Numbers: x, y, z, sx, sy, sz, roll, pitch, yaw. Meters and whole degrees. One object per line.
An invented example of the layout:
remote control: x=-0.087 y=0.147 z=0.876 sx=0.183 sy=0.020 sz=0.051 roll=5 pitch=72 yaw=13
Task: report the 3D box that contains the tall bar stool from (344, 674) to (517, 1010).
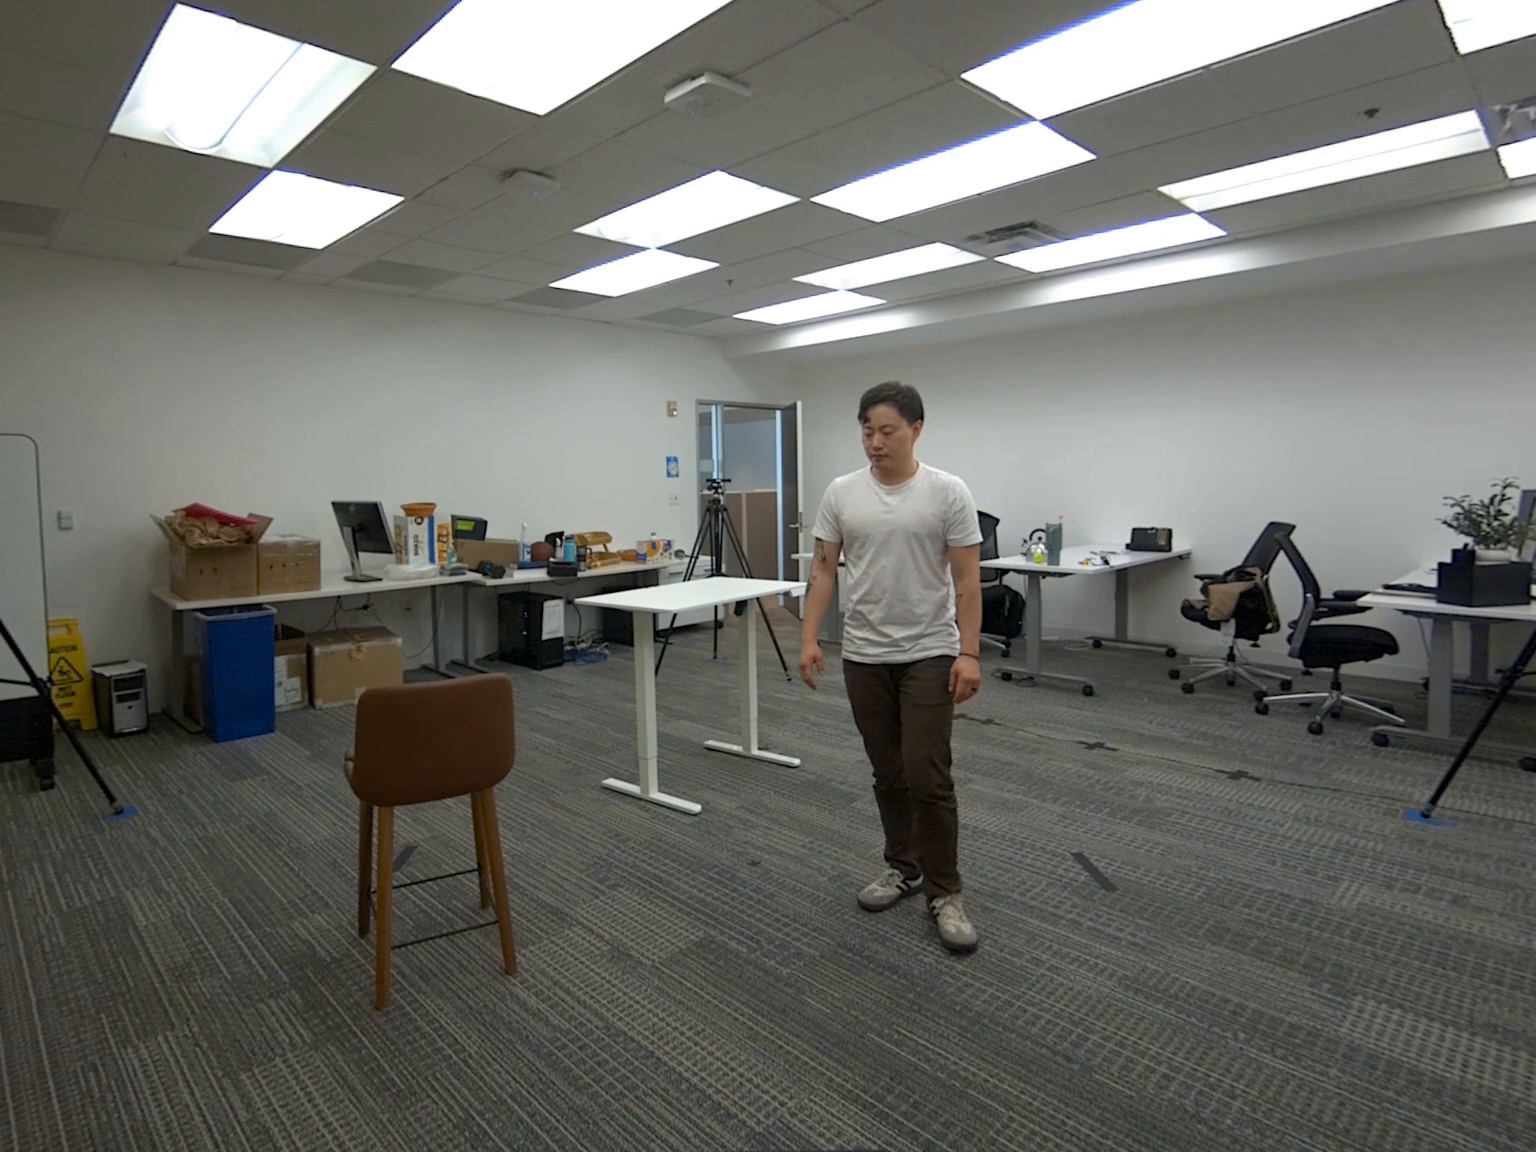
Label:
tall bar stool: x=-0.999 y=0.697 z=2.524 sx=0.446 sy=0.885 sz=0.481 roll=-3 pitch=7 yaw=-29
